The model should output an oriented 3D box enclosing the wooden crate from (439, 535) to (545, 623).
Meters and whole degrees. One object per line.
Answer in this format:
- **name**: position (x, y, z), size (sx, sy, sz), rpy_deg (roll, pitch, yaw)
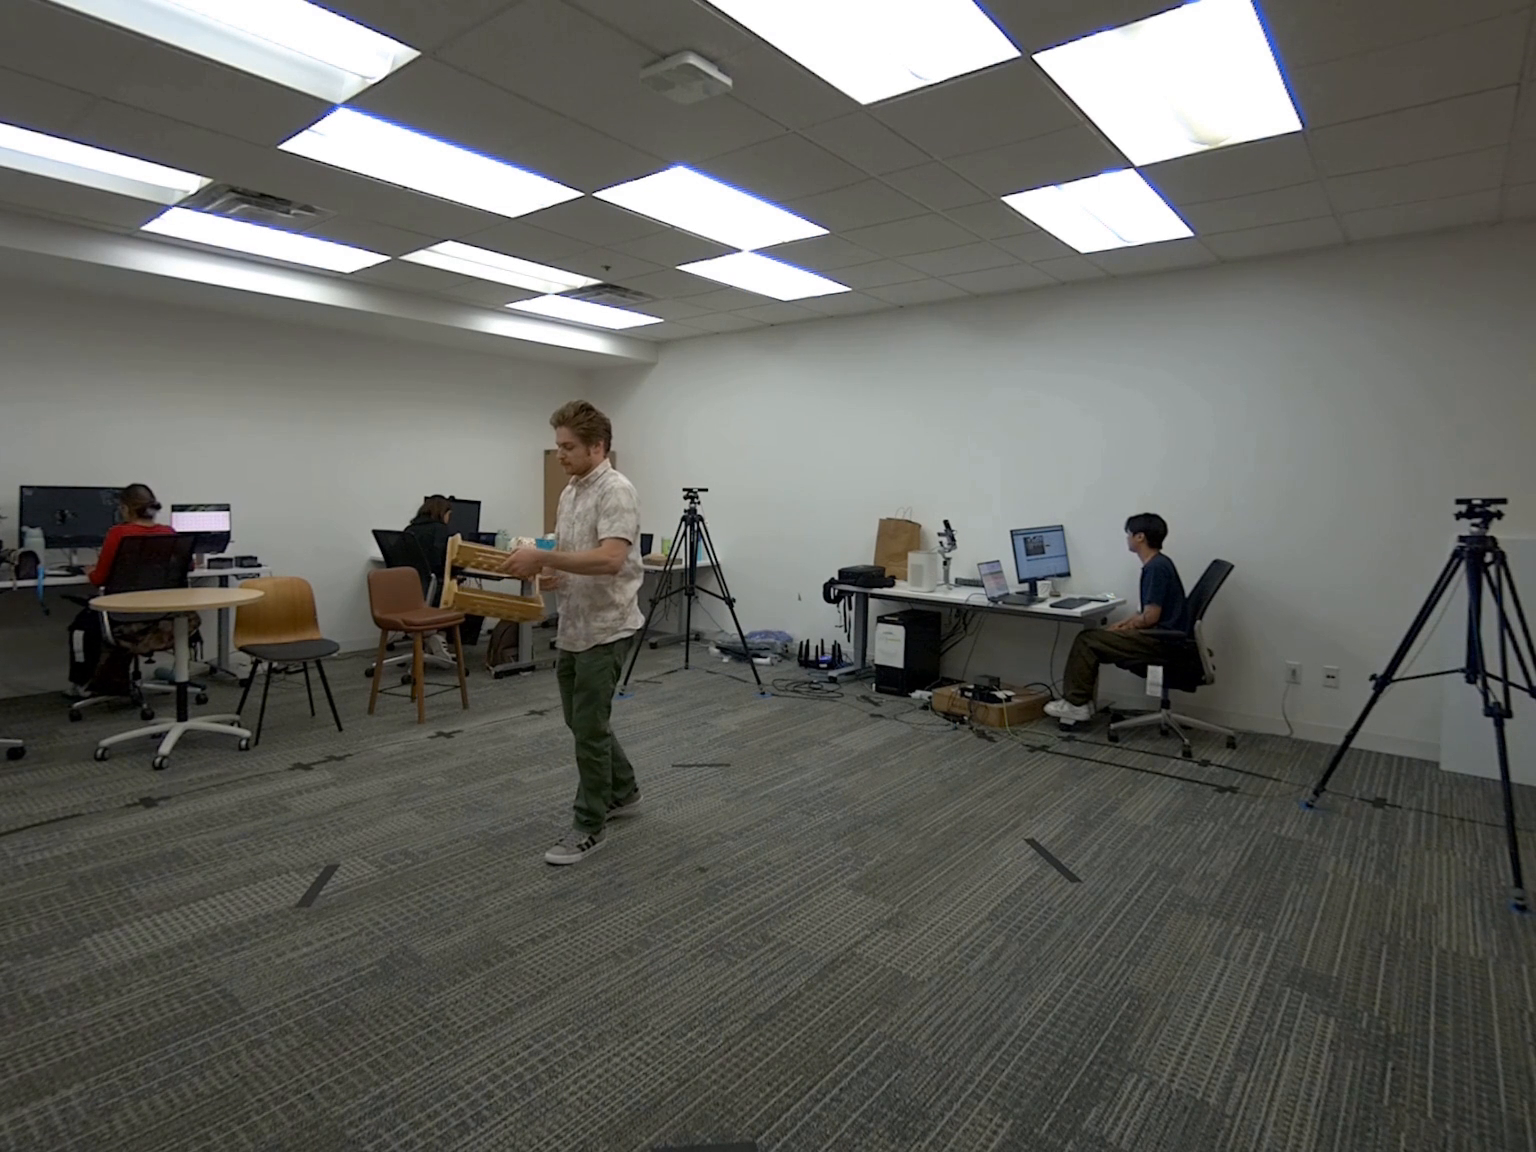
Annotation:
- **wooden crate**: position (-0.986, 0.004, 2.977), size (0.315, 0.276, 0.308), rpy_deg (13, -13, -27)
